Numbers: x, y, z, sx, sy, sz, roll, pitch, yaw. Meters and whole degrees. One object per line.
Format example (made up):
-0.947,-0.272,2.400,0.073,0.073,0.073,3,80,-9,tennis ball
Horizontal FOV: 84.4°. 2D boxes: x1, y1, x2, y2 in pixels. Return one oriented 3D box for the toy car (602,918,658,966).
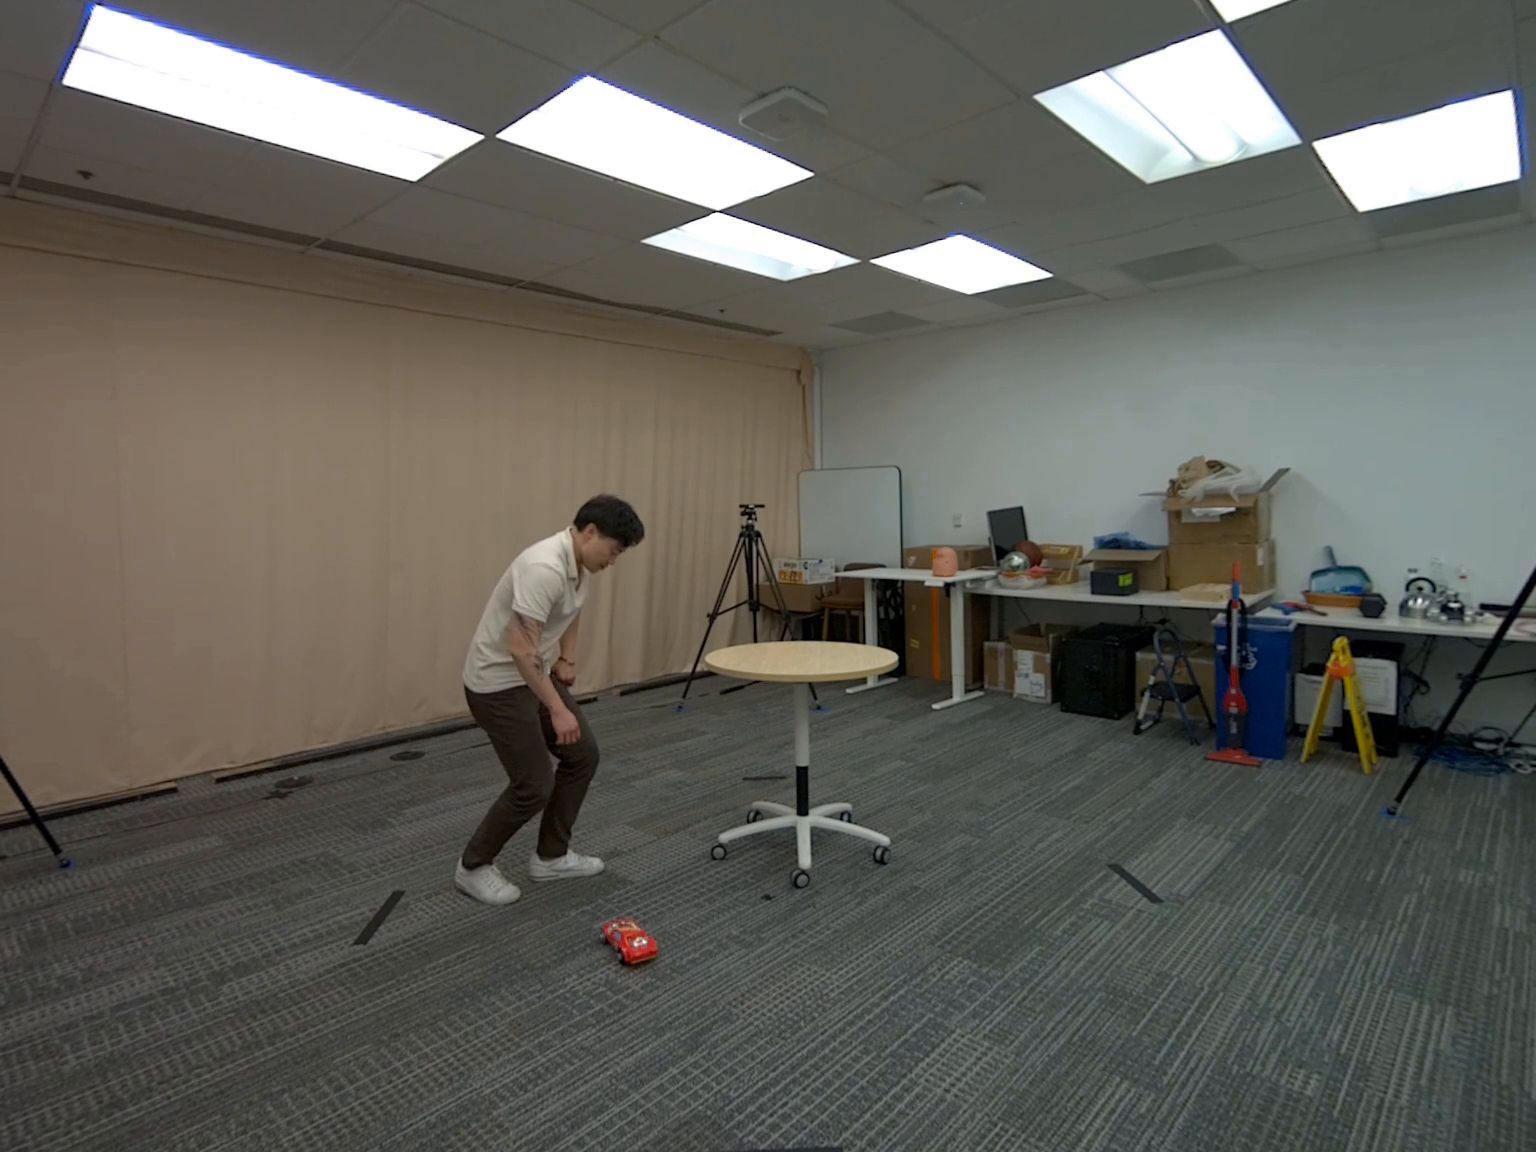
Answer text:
-0.433,1.151,2.618,0.127,0.083,0.260,-4,-5,-32,toy car
